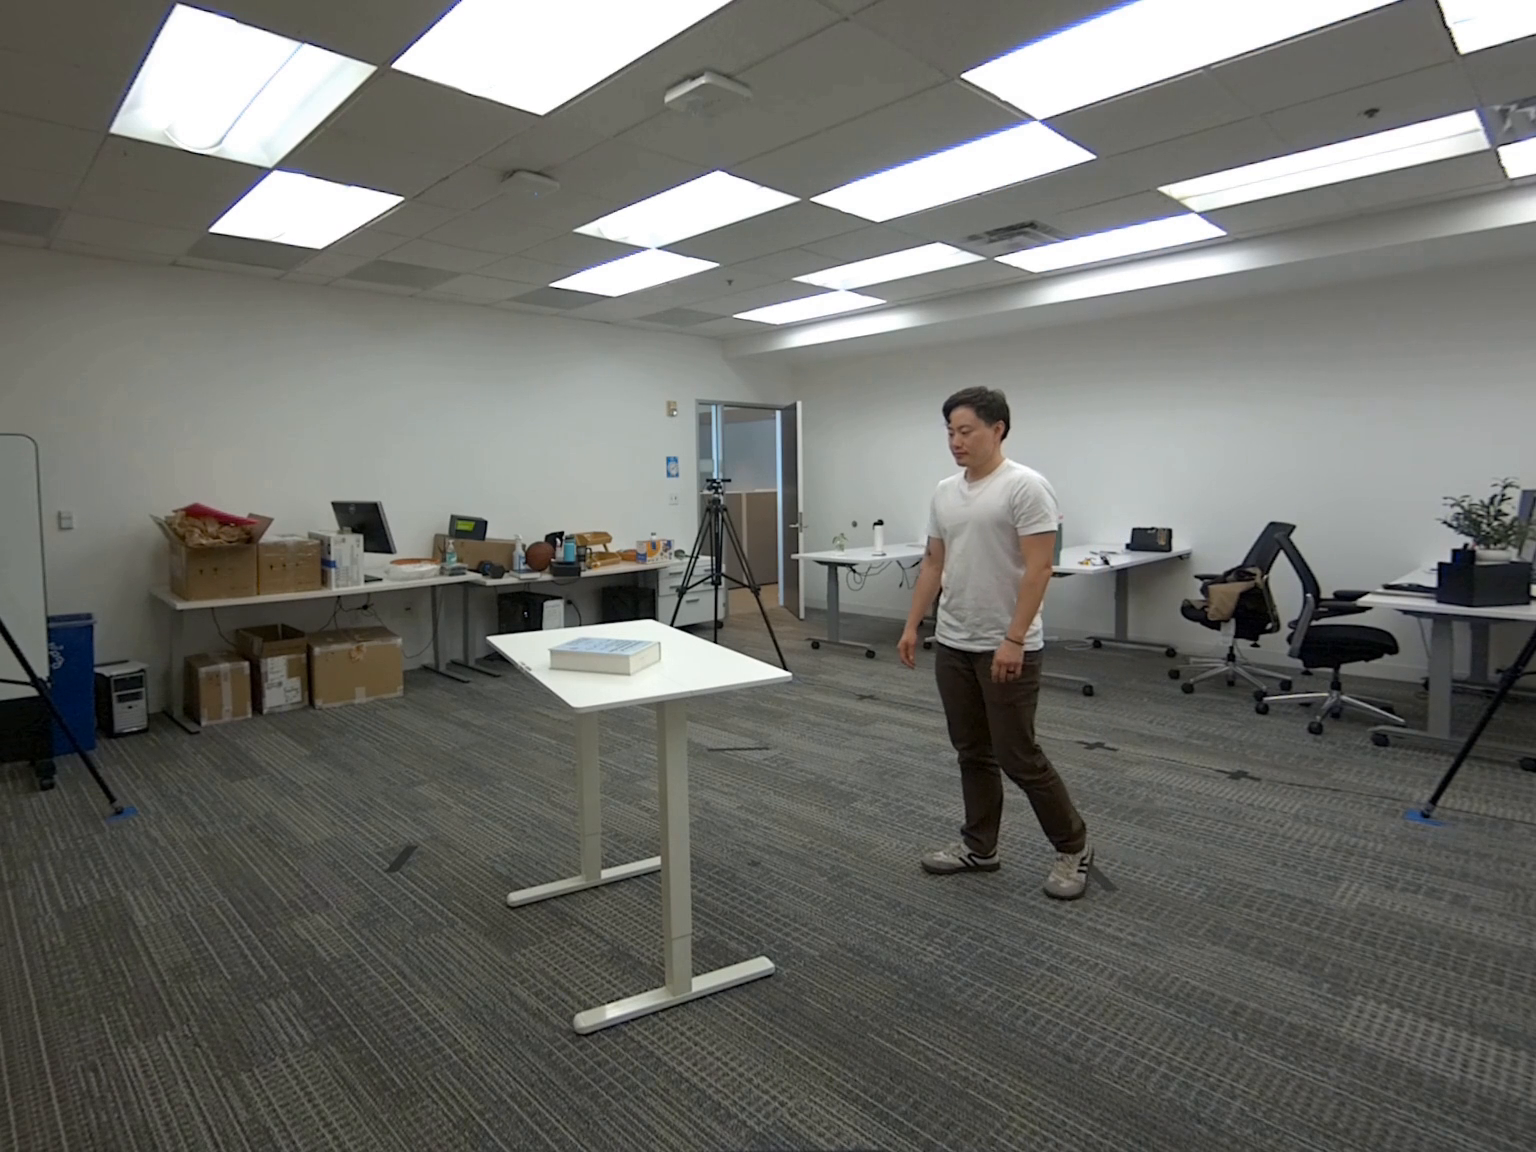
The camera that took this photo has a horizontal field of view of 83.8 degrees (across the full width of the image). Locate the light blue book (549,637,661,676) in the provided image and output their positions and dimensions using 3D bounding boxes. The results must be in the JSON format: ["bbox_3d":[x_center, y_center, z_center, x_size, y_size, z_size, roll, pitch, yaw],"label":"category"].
[{"bbox_3d":[-0.452,0.227,2.413,0.266,0.059,0.189,1,7,19],"label":"light blue book"}]
